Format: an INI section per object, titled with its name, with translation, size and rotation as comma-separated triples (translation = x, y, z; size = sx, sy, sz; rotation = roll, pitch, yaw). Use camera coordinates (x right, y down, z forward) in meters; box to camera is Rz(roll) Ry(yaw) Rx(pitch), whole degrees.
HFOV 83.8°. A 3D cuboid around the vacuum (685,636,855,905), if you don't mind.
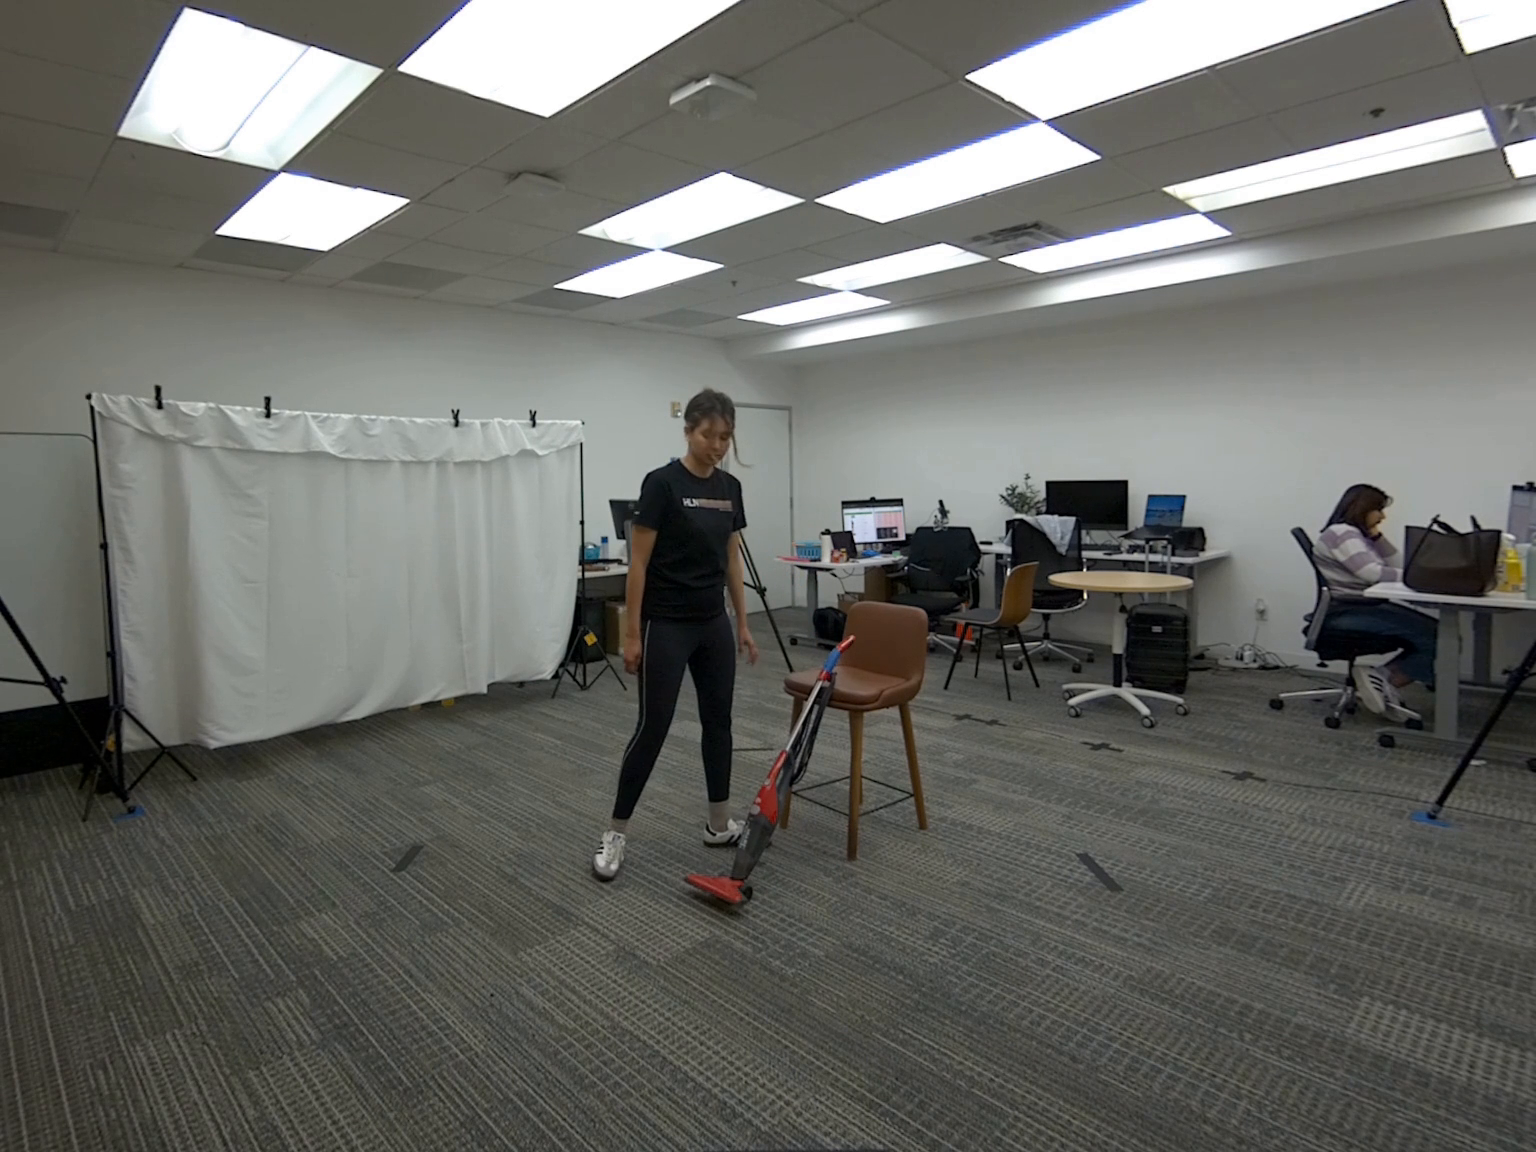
[vacuum]
translation = 0.090, 0.661, 3.065
size = 0.260, 1.055, 0.139
rotation = 5, -37, 42
